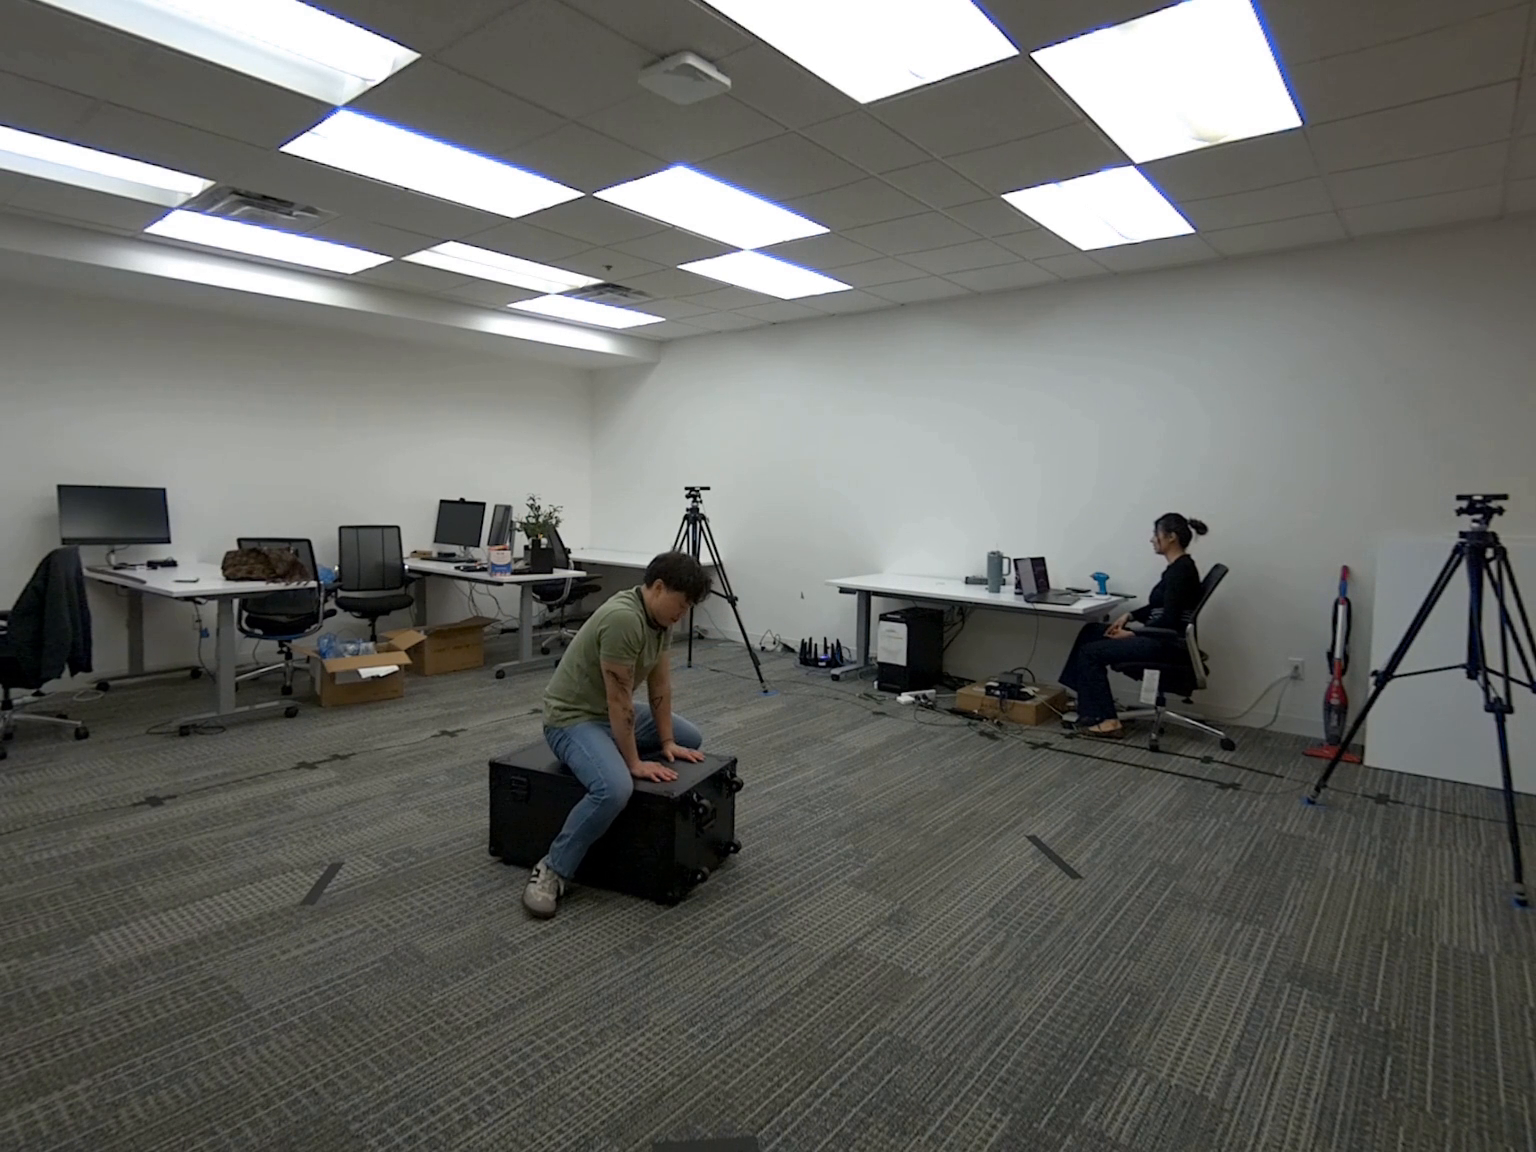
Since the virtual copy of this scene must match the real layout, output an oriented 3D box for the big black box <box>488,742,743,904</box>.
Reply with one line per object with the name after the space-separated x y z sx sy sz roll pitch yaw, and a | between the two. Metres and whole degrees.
-0.555 0.870 3.152 0.883 0.395 0.510 2 4 24 | big black box
